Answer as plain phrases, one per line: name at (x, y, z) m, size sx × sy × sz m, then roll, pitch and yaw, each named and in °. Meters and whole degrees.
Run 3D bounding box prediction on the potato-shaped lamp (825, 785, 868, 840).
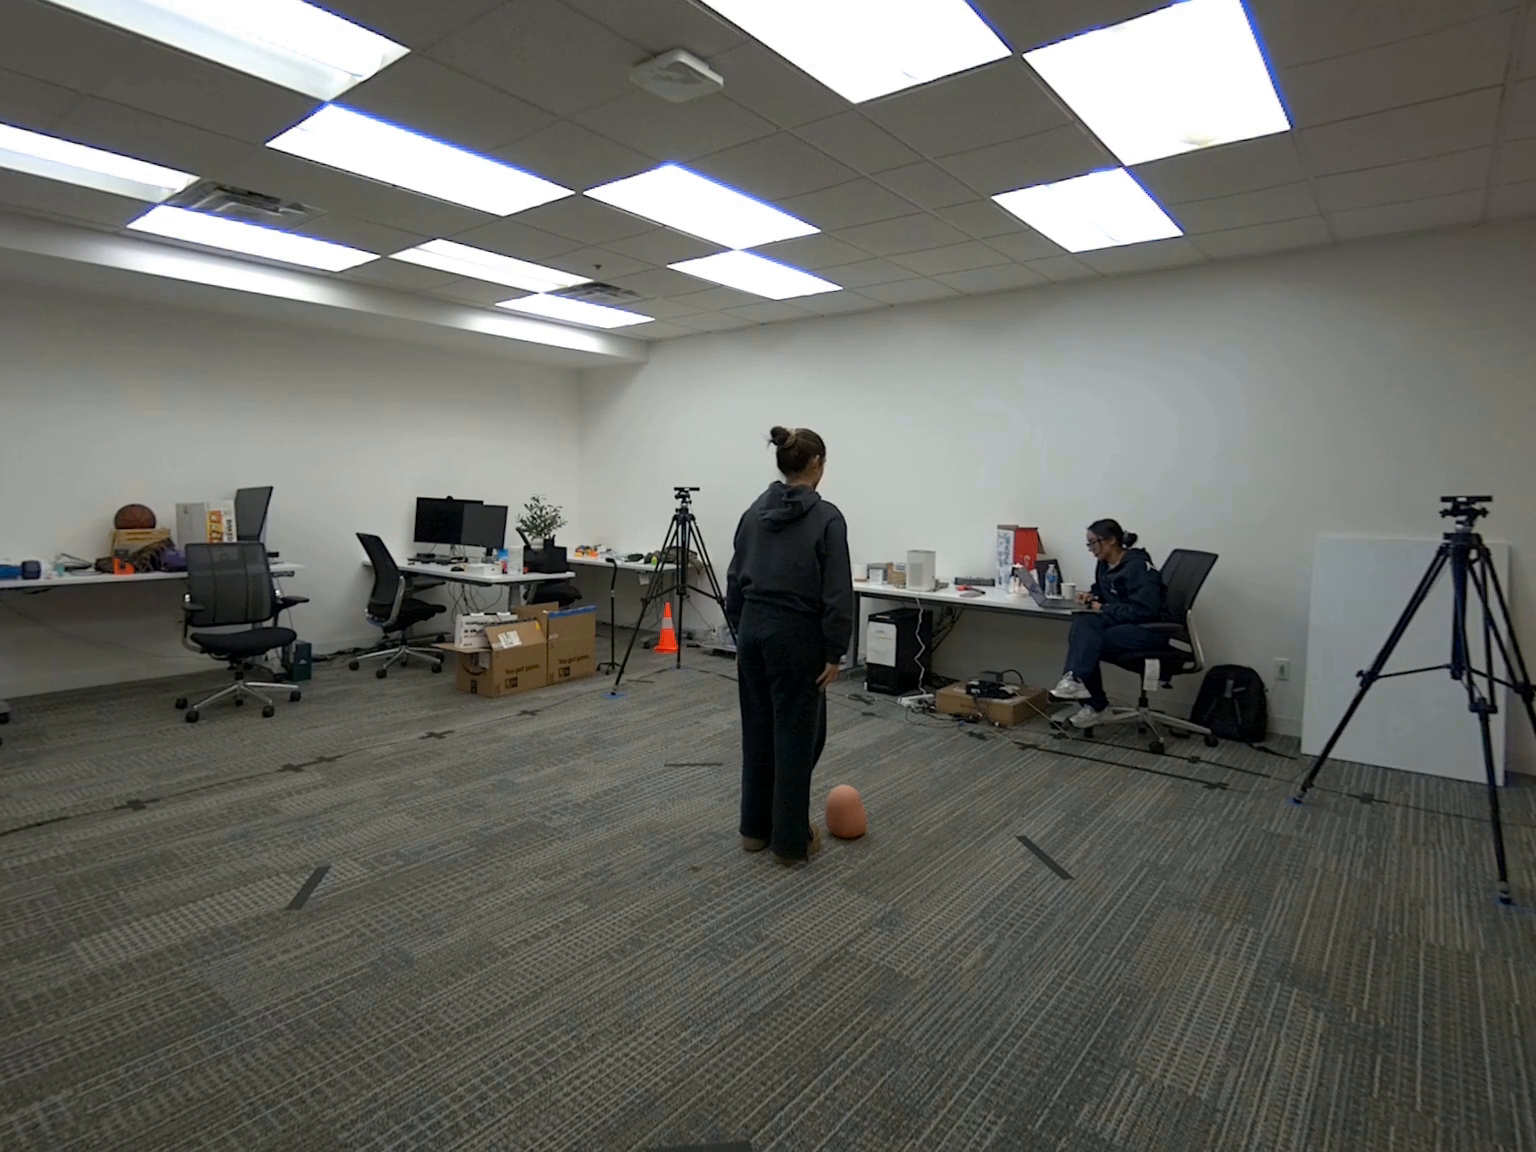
potato-shaped lamp at (0.312, 0.943, 3.450) m, size 0.166 × 0.197 × 0.170 m, roll -3°, pitch 6°, yaw -43°
